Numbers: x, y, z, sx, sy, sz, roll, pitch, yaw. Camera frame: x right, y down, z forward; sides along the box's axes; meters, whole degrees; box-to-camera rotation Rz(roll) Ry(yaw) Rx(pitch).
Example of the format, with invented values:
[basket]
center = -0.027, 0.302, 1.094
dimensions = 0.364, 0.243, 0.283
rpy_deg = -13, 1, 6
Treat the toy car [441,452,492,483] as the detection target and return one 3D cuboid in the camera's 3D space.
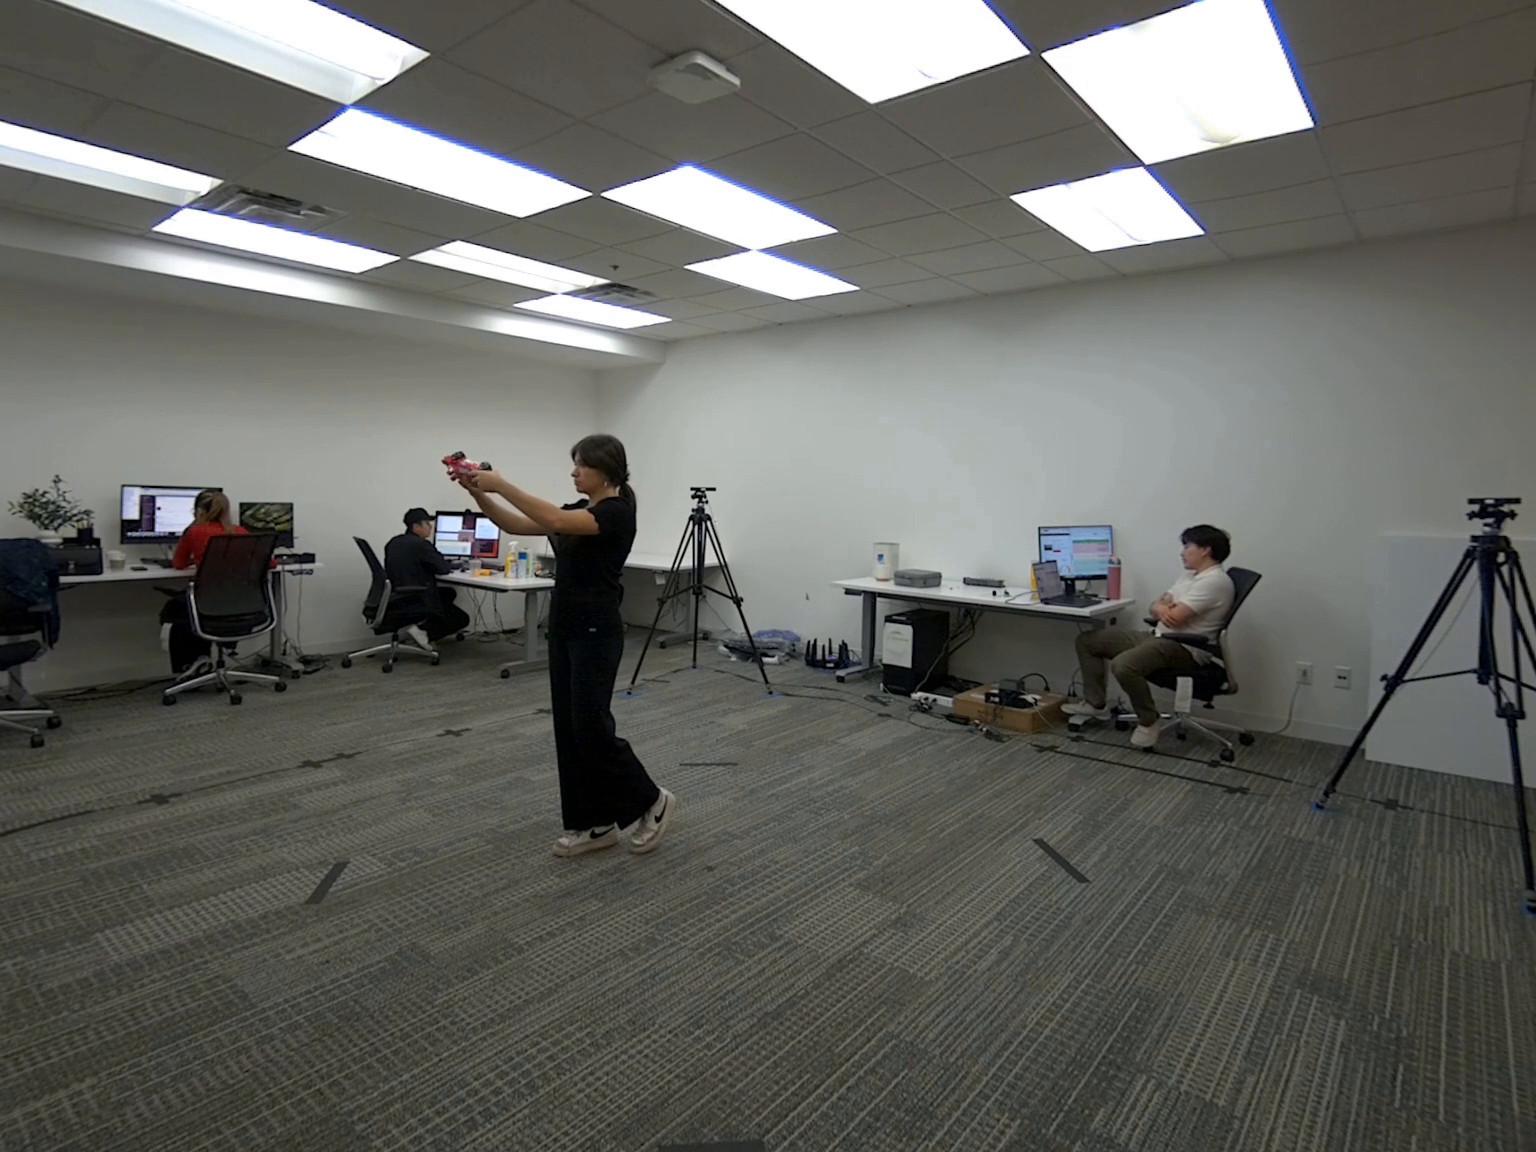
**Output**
[toy car]
center = -1.079, -0.375, 3.031
dimensions = 0.262, 0.084, 0.125
rpy_deg = 12, -37, 24
